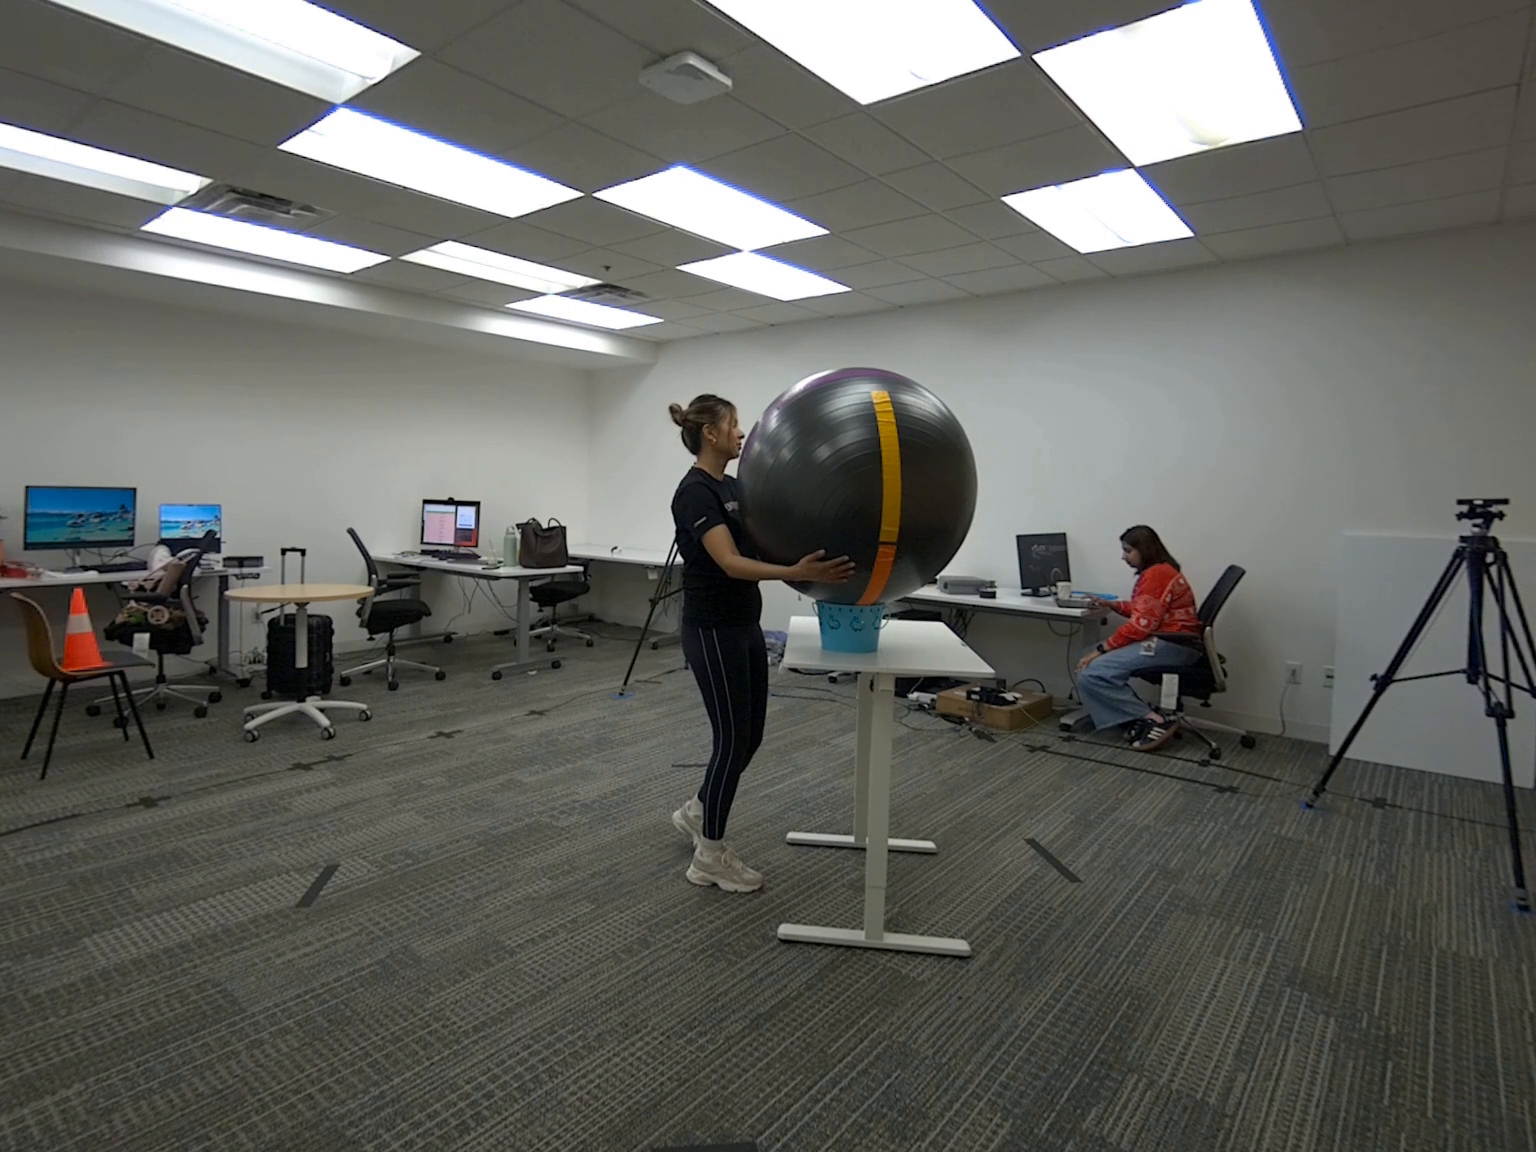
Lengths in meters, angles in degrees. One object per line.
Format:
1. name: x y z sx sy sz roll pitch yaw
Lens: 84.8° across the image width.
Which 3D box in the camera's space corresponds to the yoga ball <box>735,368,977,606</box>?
1. yoga ball: 0.273 -0.282 2.718 0.757 0.756 0.762 1 4 -2
